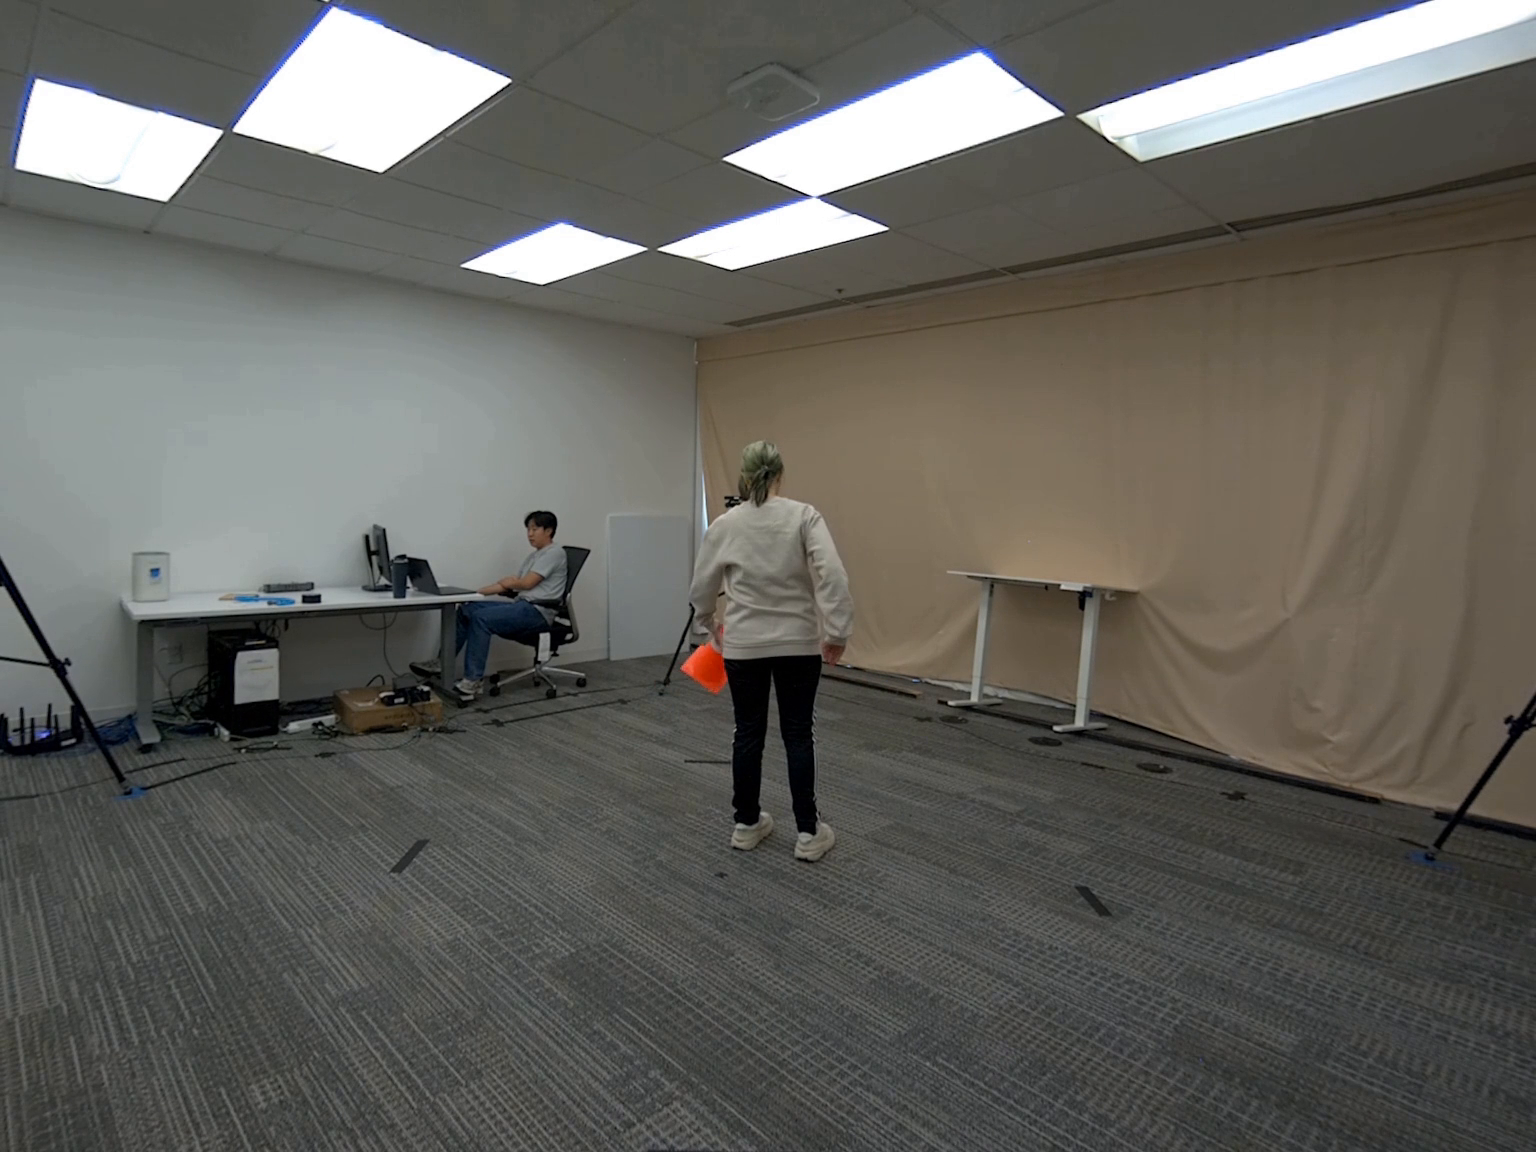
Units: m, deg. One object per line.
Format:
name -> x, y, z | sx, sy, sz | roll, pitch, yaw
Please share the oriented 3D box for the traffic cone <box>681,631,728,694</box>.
traffic cone -> -0.208, 0.299, 3.677 | 0.207, 0.380, 0.203 | 35, 40, 8
